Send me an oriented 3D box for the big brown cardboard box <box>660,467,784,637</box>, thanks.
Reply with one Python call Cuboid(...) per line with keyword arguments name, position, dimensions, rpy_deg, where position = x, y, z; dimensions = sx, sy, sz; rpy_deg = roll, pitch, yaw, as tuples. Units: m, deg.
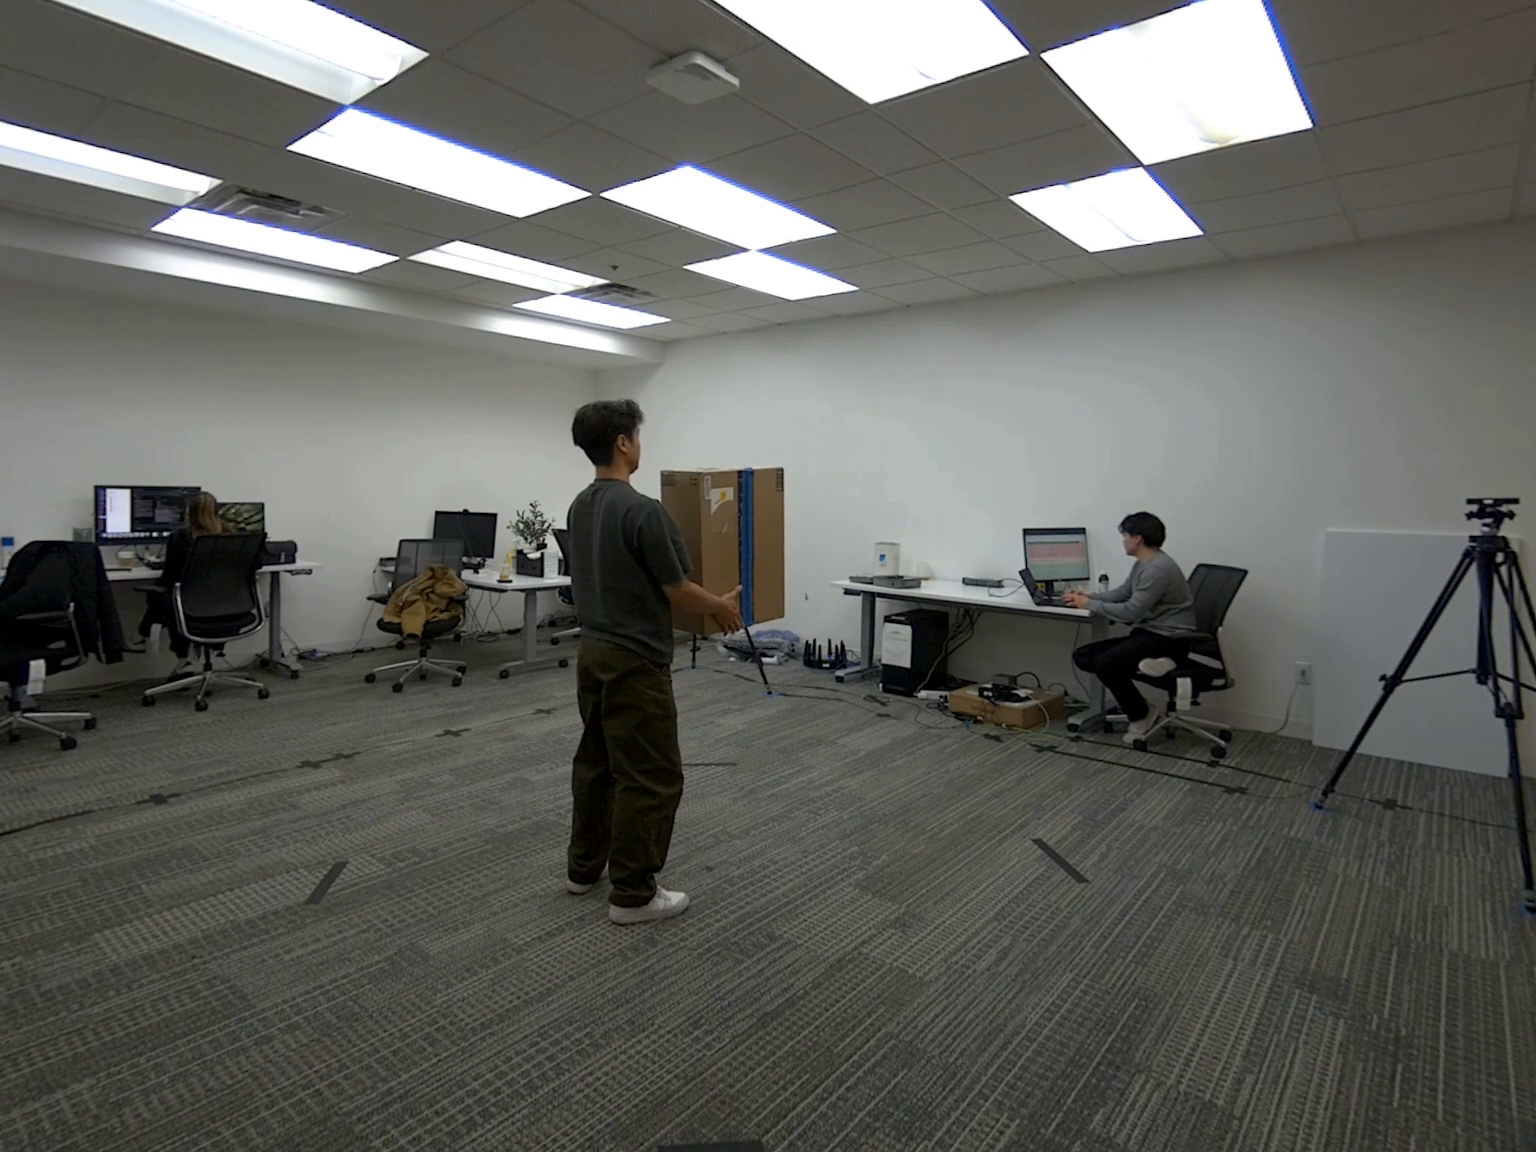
Cuboid(name="big brown cardboard box", position=(-0.165, -0.115, 3.097), dimensions=(0.406, 0.584, 0.241), rpy_deg=(-10, 13, -44))
